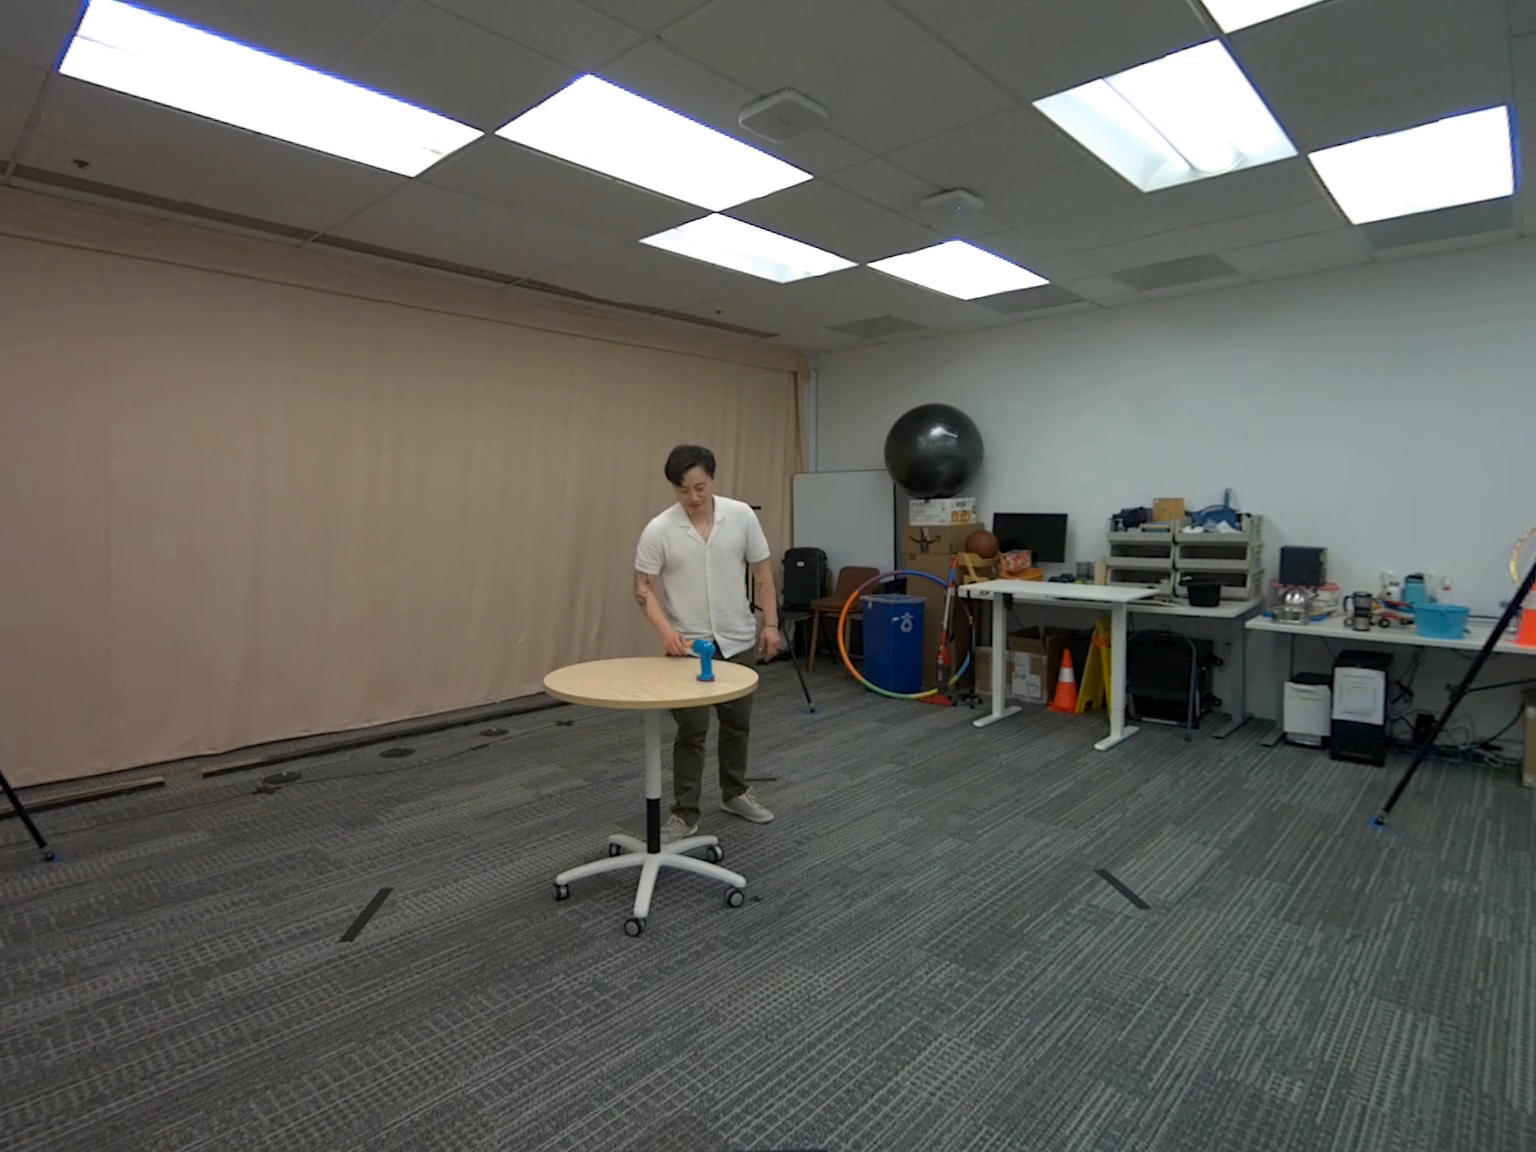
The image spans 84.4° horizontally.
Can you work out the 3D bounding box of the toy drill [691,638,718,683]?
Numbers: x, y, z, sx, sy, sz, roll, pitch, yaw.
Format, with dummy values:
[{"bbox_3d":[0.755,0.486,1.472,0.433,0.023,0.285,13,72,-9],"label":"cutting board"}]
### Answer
[{"bbox_3d":[-0.239,0.288,2.984,0.059,0.146,0.175,-1,5,-35],"label":"toy drill"}]
